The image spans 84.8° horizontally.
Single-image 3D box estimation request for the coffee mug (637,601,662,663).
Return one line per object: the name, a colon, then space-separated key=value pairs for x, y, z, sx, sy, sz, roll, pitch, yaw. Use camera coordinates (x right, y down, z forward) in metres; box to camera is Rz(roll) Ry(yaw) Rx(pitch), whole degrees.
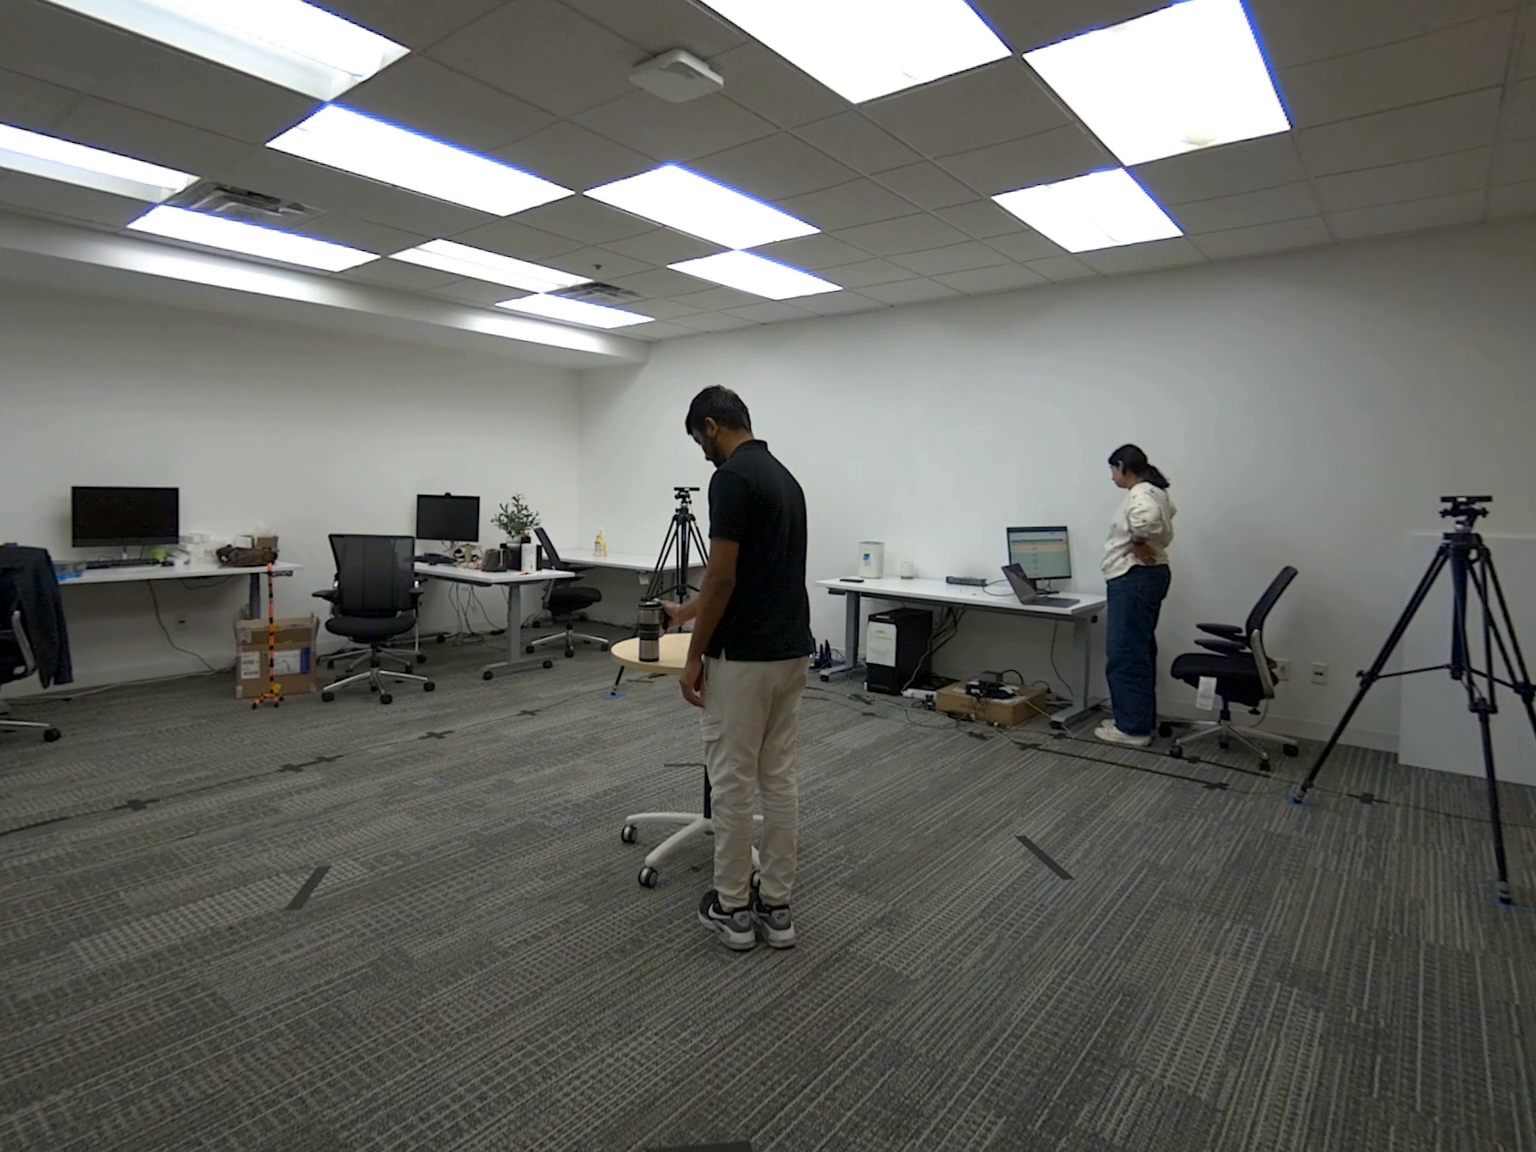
coffee mug: x=-0.403 y=0.196 z=2.962 sx=0.124 sy=0.204 sz=0.086 roll=0 pitch=-3 yaw=20
